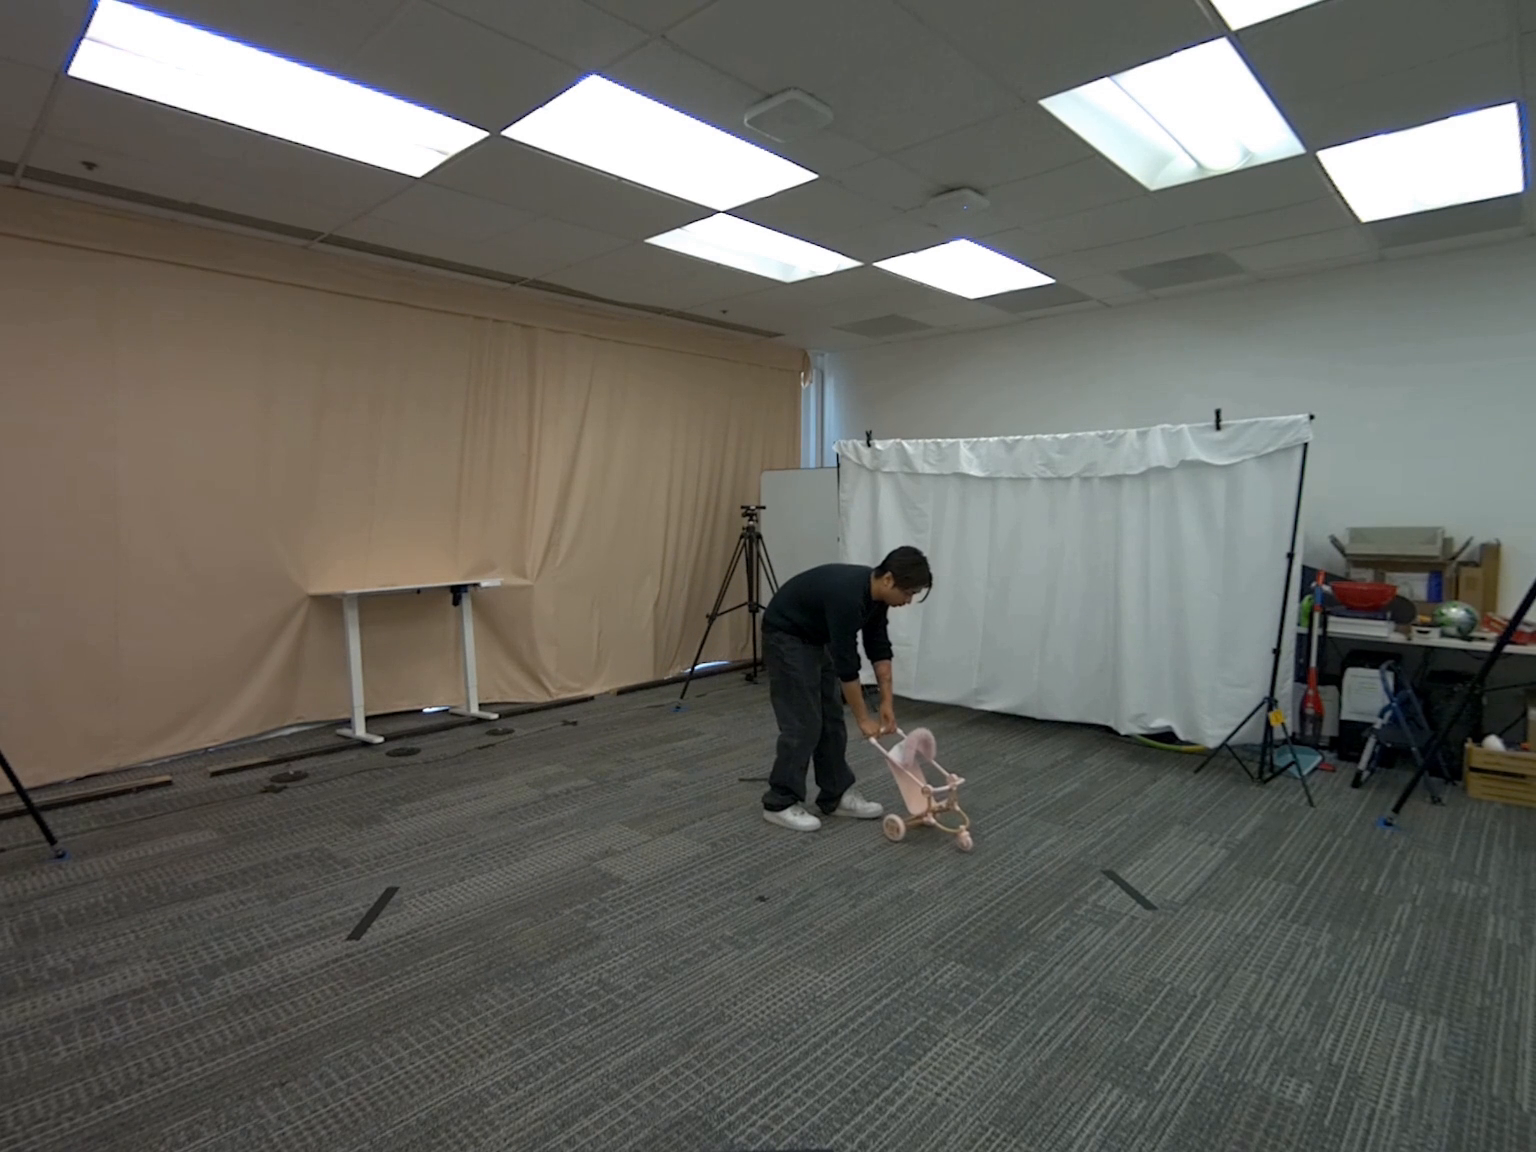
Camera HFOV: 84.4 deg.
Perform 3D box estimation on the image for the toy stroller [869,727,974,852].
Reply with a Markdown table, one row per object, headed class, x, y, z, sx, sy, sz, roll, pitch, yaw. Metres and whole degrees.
| class | x | y | z | sx | sy | sz | roll | pitch | yaw |
| --- | --- | --- | --- | --- | --- | --- | --- | --- | --- |
| toy stroller | 0.657 | 0.877 | 3.527 | 0.273 | 0.539 | 0.349 | -4 | -12 | -40 |
